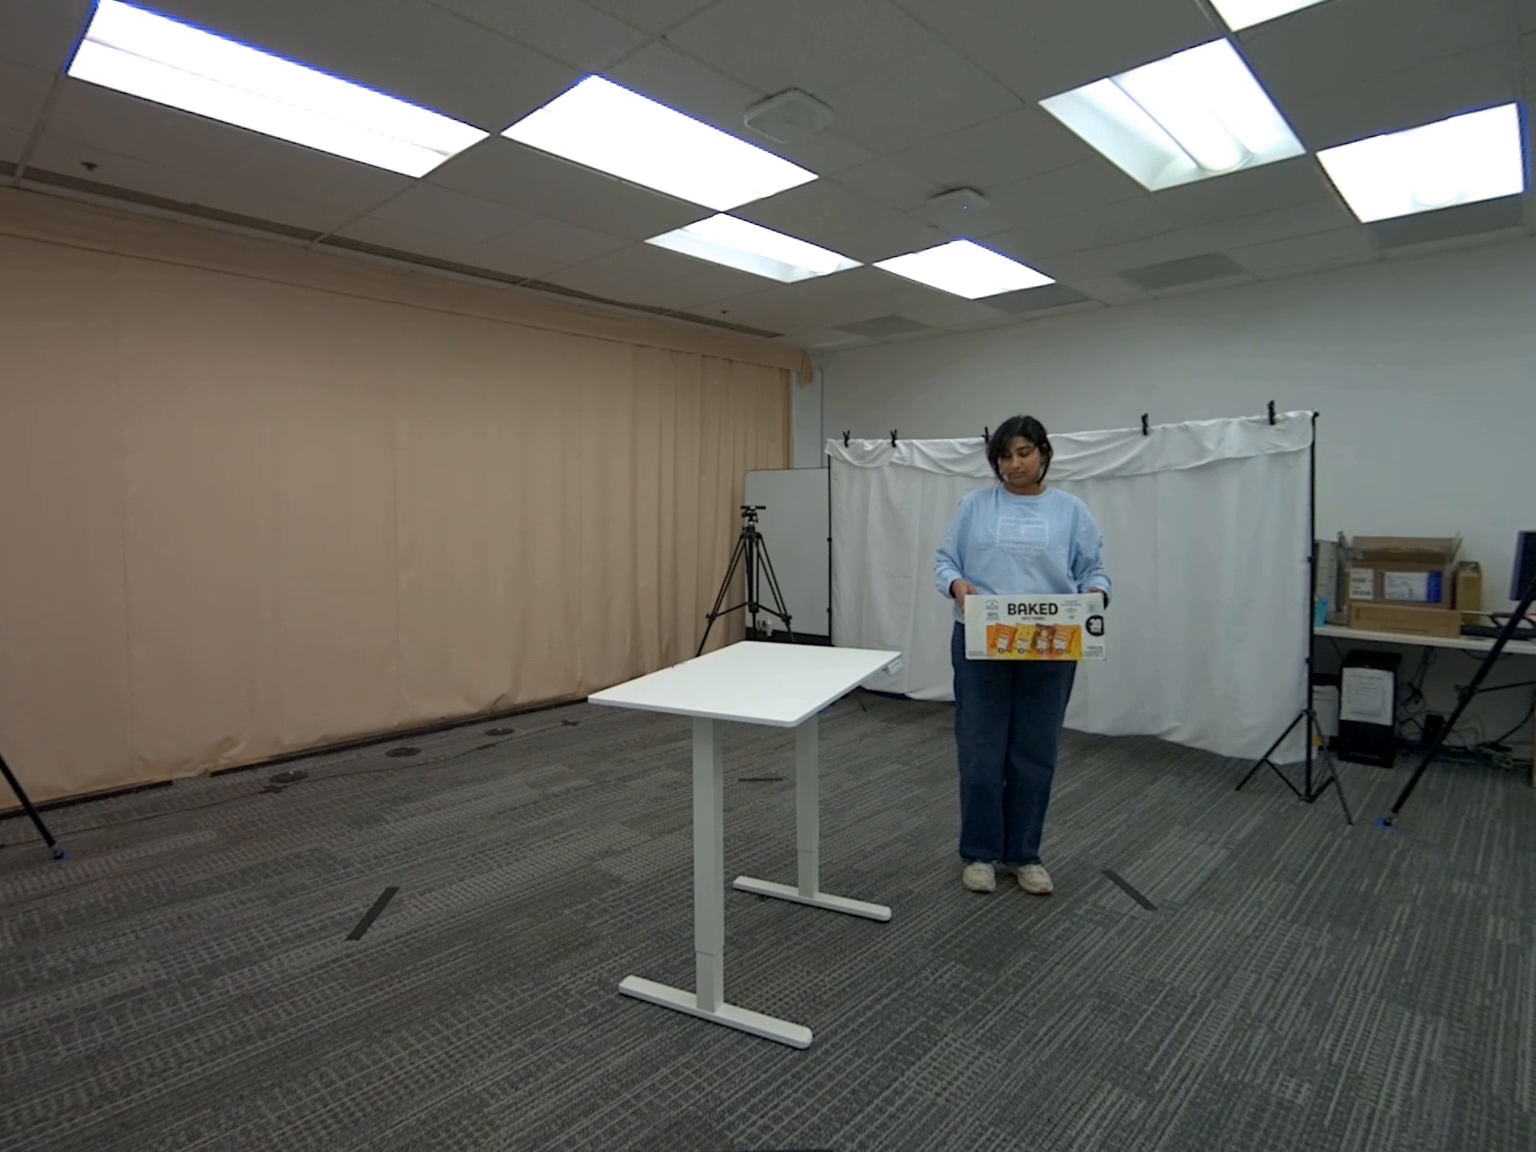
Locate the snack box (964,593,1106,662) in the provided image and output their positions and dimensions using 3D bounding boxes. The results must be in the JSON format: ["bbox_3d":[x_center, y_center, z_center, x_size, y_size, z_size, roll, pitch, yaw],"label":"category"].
[{"bbox_3d":[0.856,0.160,2.762,0.411,0.206,0.334,-1,-2,14],"label":"snack box"}]
